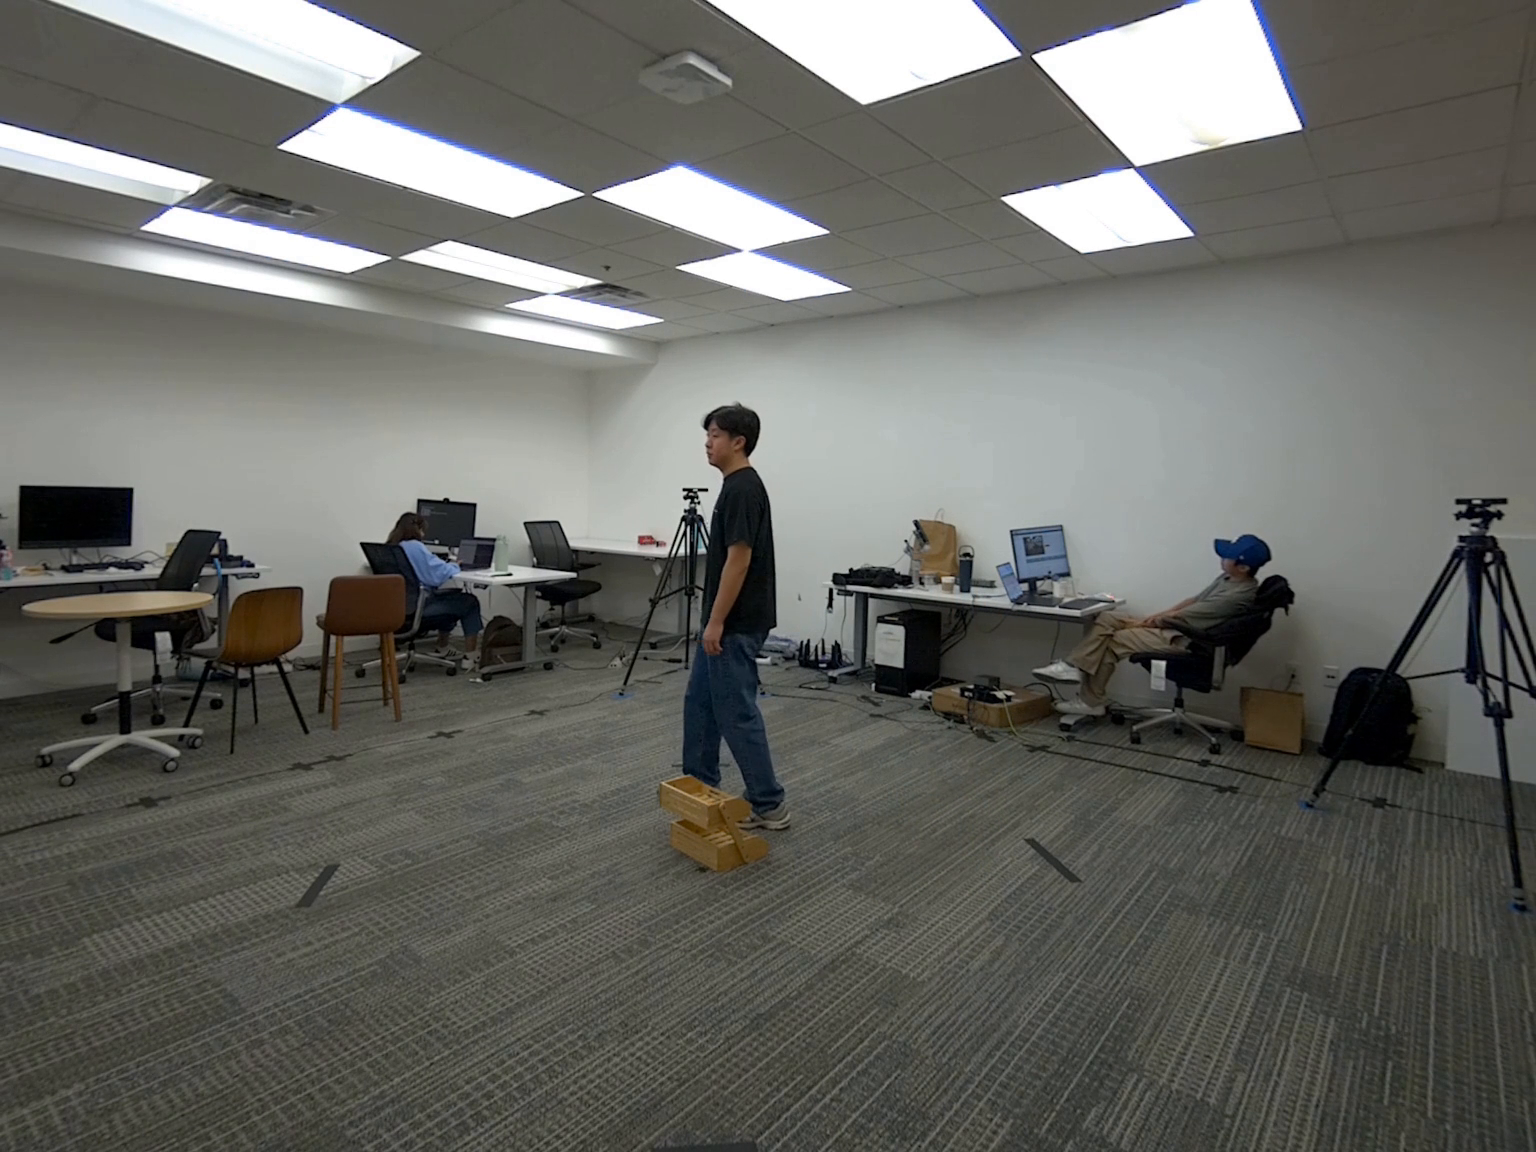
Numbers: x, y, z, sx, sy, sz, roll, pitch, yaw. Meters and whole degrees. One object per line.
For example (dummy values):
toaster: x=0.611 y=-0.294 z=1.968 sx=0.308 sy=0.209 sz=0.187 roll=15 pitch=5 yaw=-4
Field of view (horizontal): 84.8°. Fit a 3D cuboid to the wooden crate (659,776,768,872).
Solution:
wooden crate: x=-0.216 y=0.921 z=3.259 sx=0.293 sy=0.272 sz=0.335 roll=-4 pitch=6 yaw=-42
